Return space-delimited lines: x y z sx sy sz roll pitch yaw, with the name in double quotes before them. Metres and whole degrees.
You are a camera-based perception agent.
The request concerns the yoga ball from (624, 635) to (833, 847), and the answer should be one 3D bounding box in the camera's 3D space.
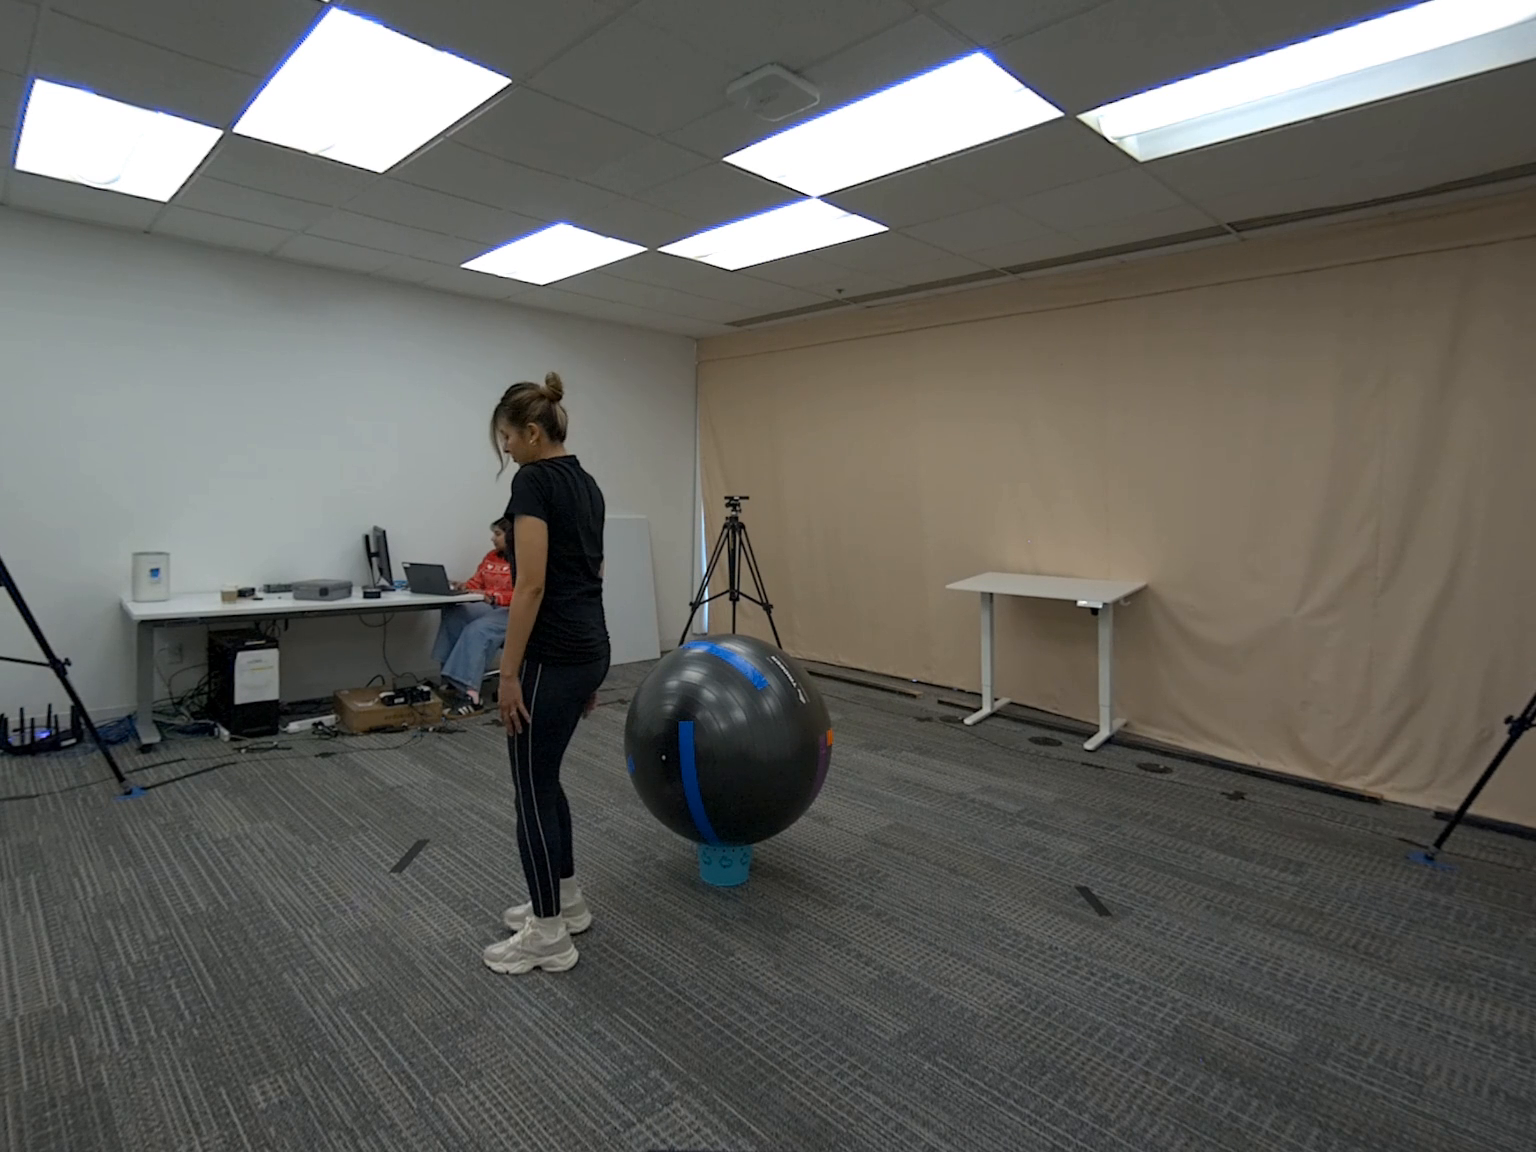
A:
"yoga ball" -0.149 0.594 3.078 0.757 0.756 0.761 1 4 -1
